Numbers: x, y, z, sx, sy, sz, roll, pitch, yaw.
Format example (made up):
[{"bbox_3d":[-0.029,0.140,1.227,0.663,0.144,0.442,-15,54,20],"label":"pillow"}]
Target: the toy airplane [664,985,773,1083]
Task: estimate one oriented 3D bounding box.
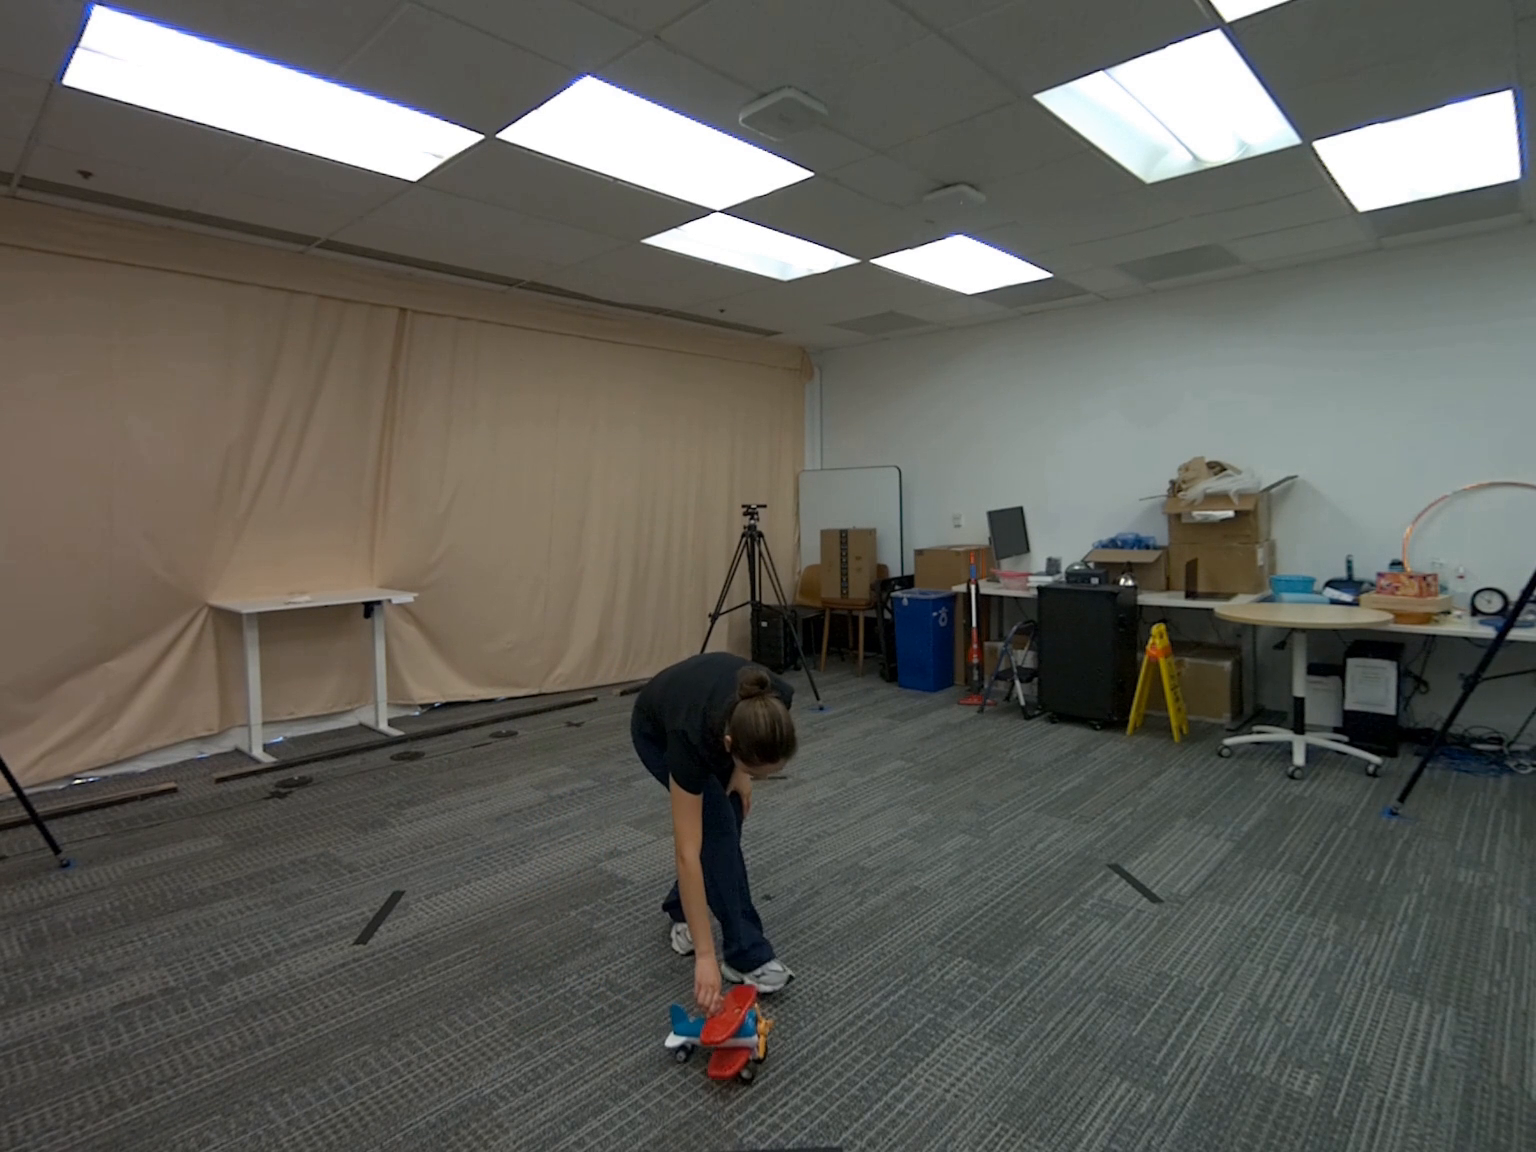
[{"bbox_3d":[-0.122,1.141,2.081,0.257,0.156,0.254,1,3,-8],"label":"toy airplane"}]
